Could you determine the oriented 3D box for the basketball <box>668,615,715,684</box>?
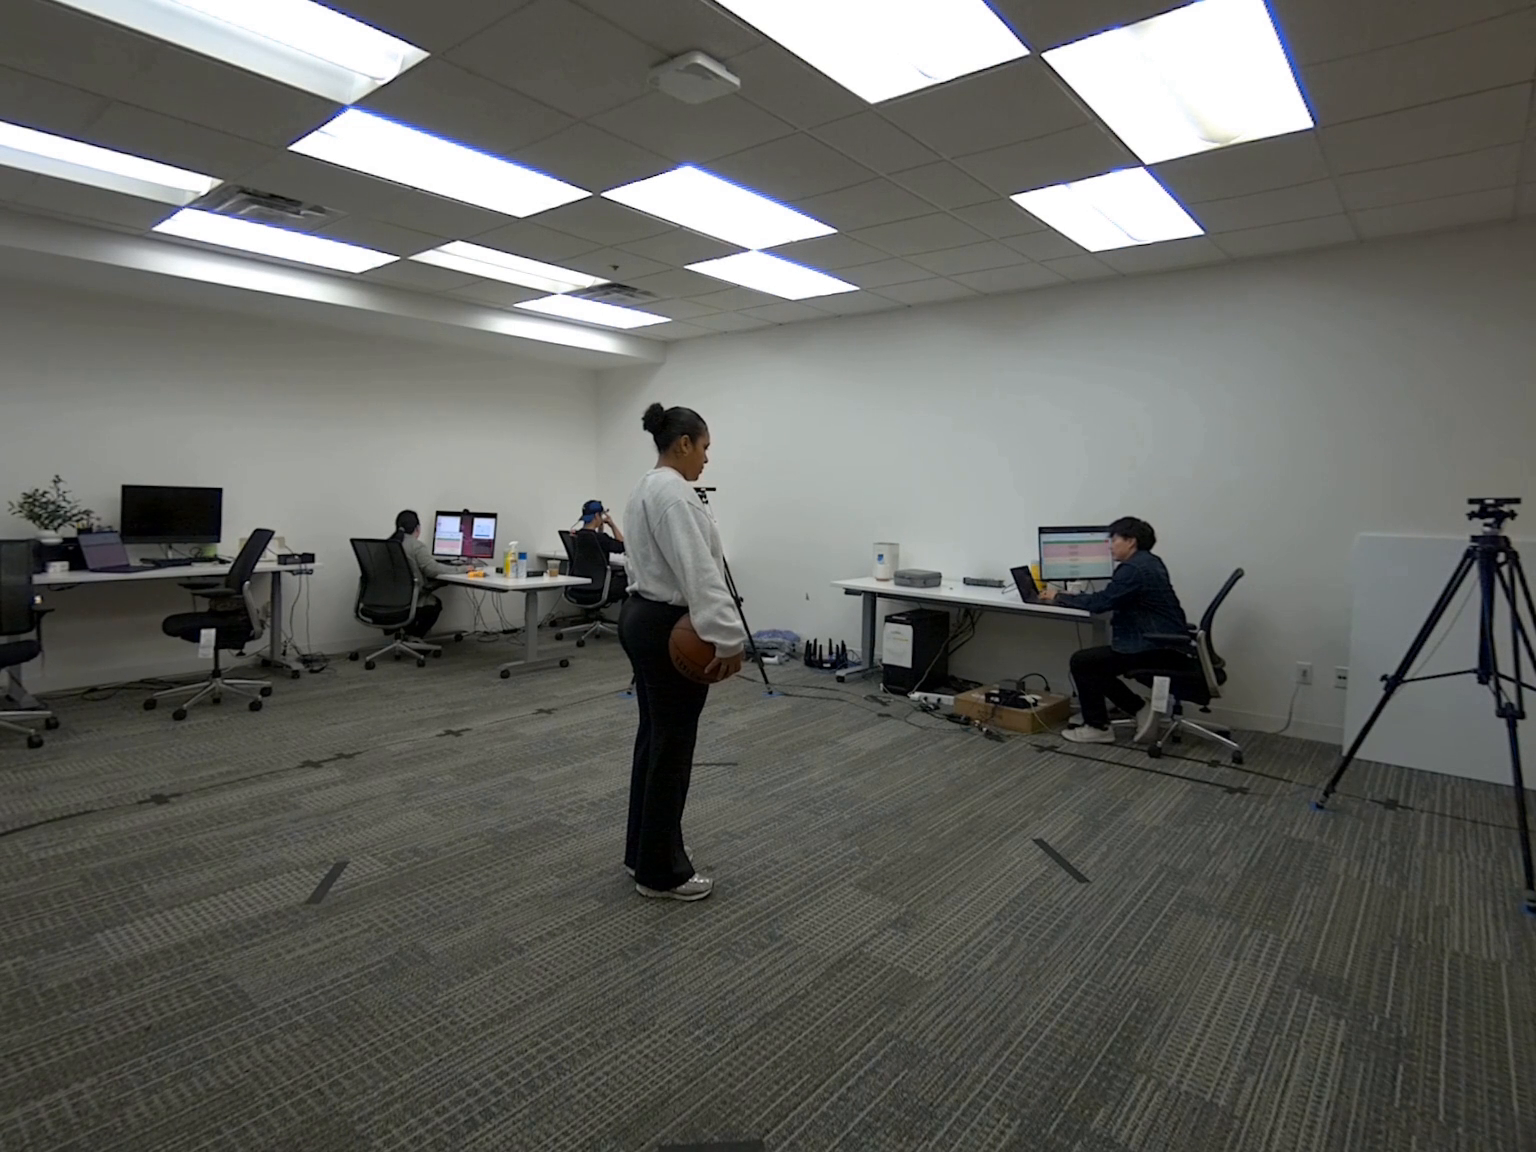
[{"bbox_3d":[-0.203,0.217,2.702,0.235,0.235,0.237,1,4,-2],"label":"basketball"}]
